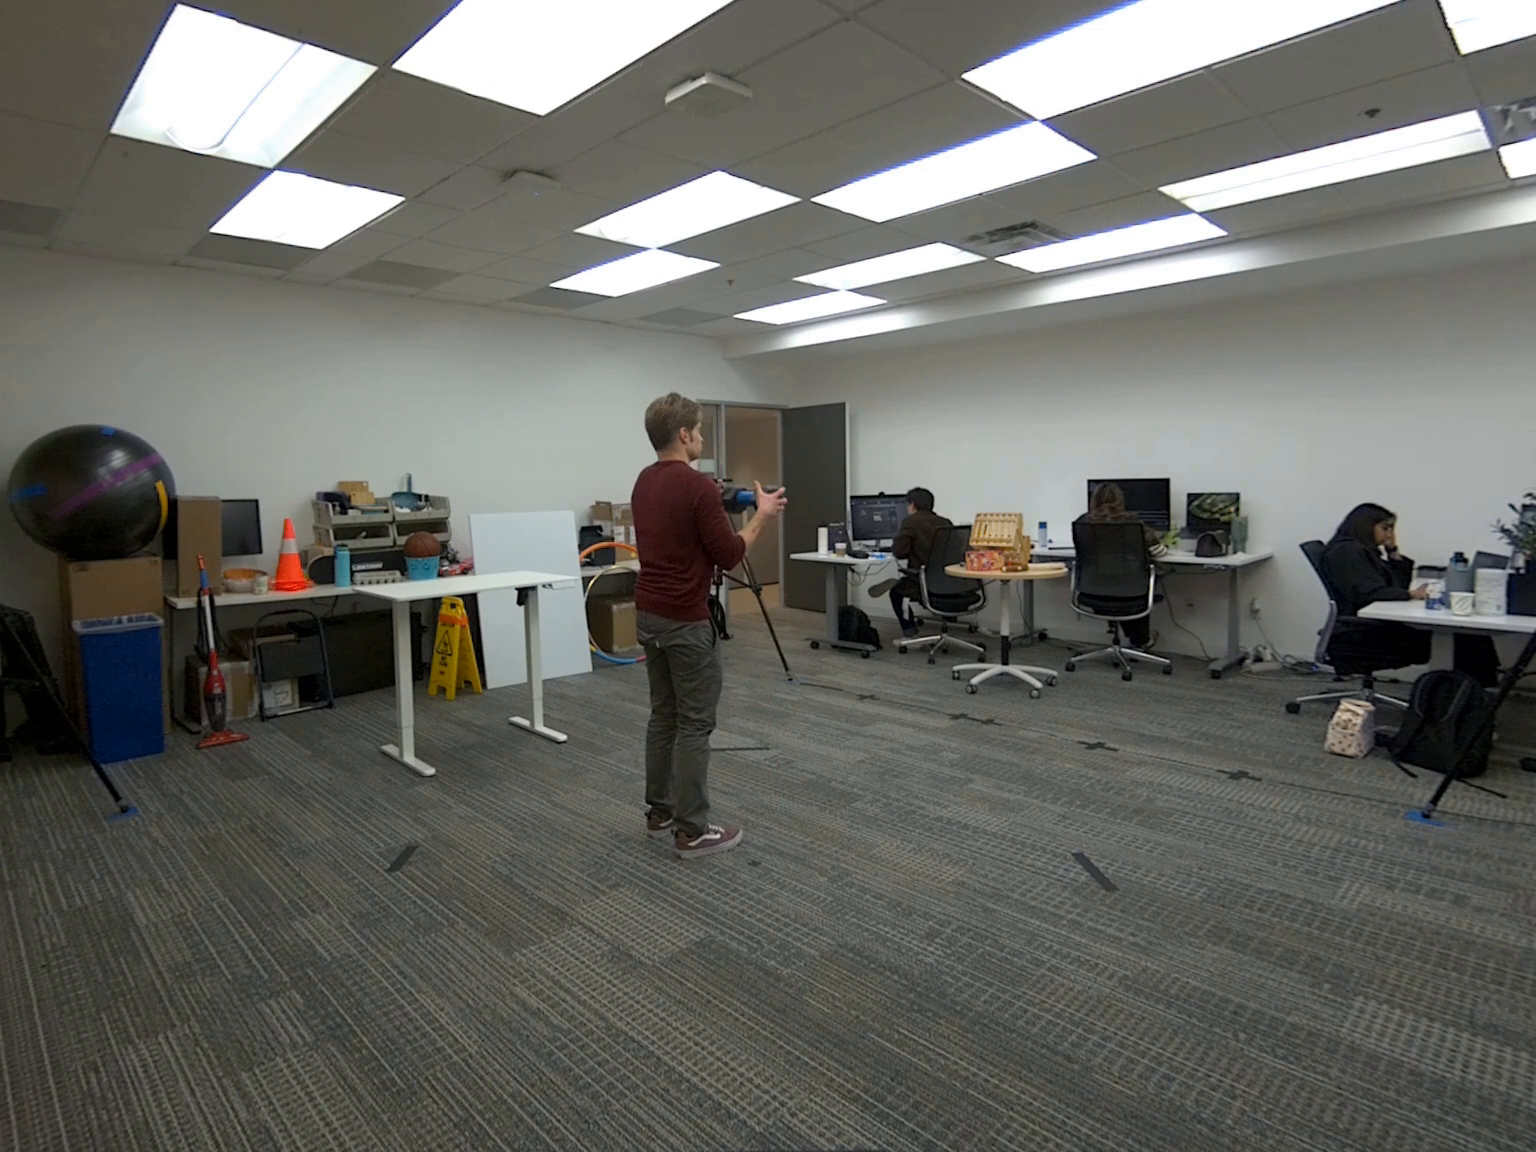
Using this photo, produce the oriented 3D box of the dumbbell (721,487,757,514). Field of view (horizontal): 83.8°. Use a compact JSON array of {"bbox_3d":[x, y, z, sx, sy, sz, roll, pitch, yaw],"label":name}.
[{"bbox_3d":[-0.081,-0.292,3.444,0.120,0.108,0.303,-3,8,-36],"label":"dumbbell"}]
